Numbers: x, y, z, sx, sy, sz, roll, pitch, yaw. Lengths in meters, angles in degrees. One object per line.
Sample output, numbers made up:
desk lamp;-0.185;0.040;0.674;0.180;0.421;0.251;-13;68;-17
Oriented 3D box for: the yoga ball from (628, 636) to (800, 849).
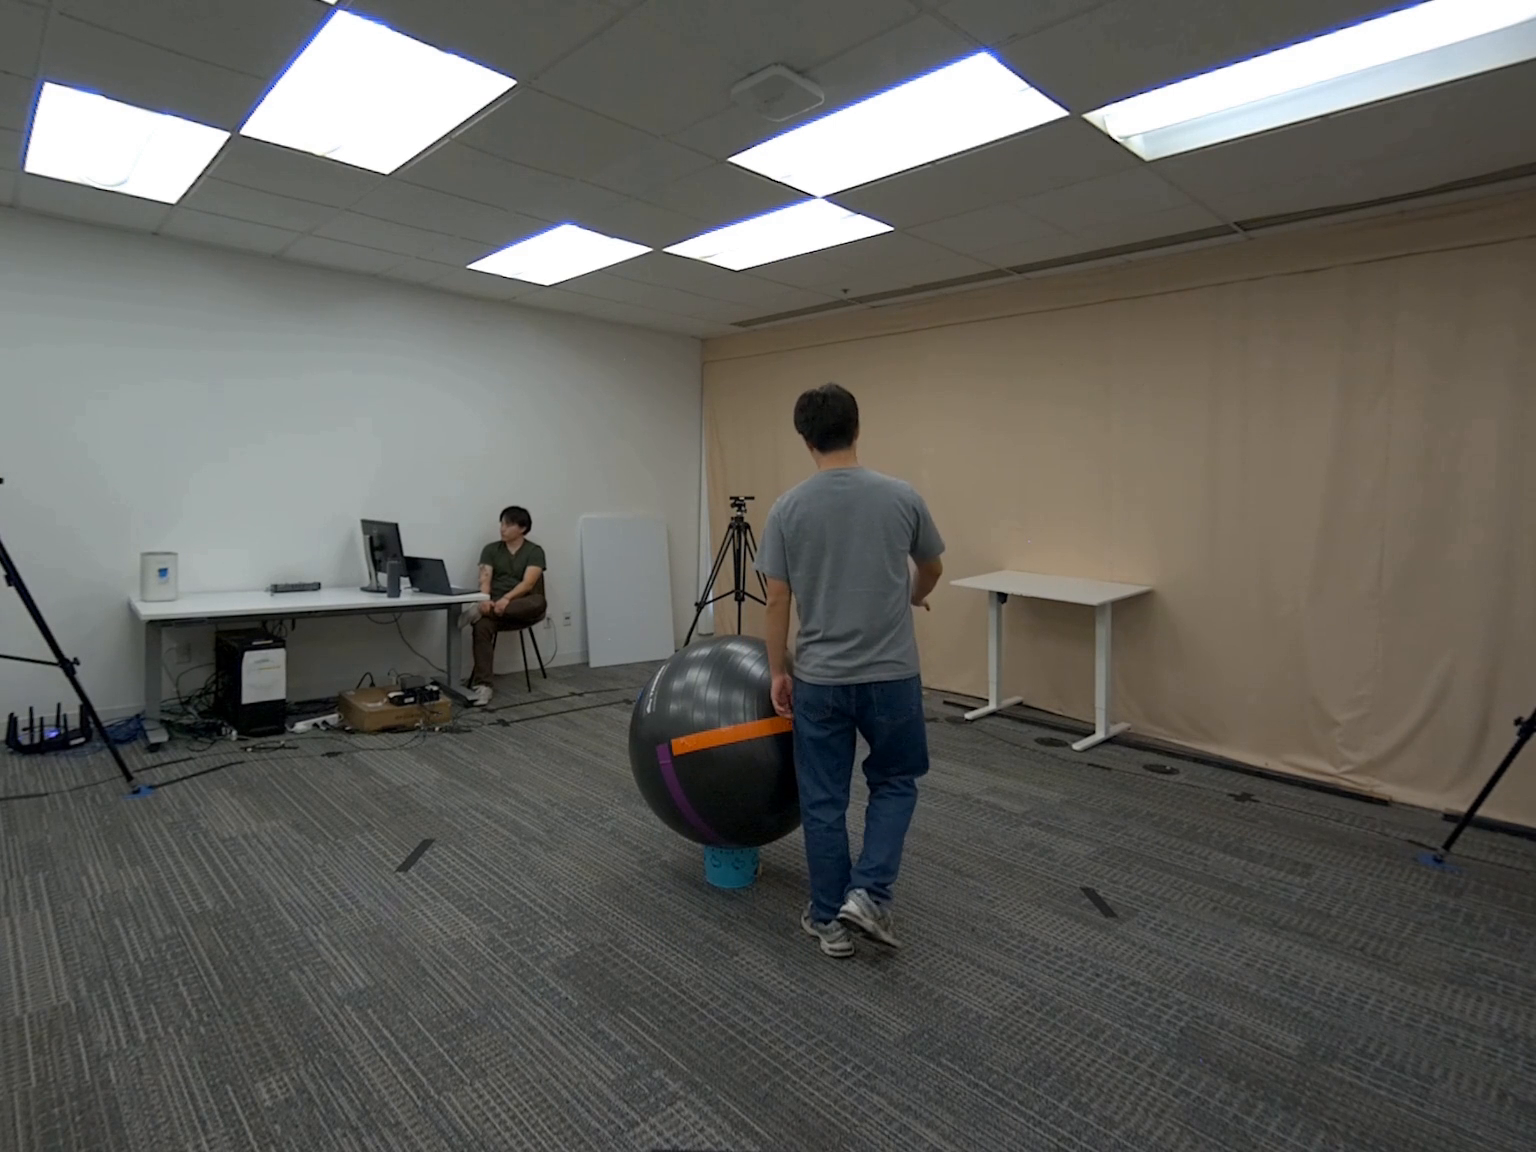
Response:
yoga ball;-0.132;0.592;3.065;0.757;0.756;0.761;1;4;-1
